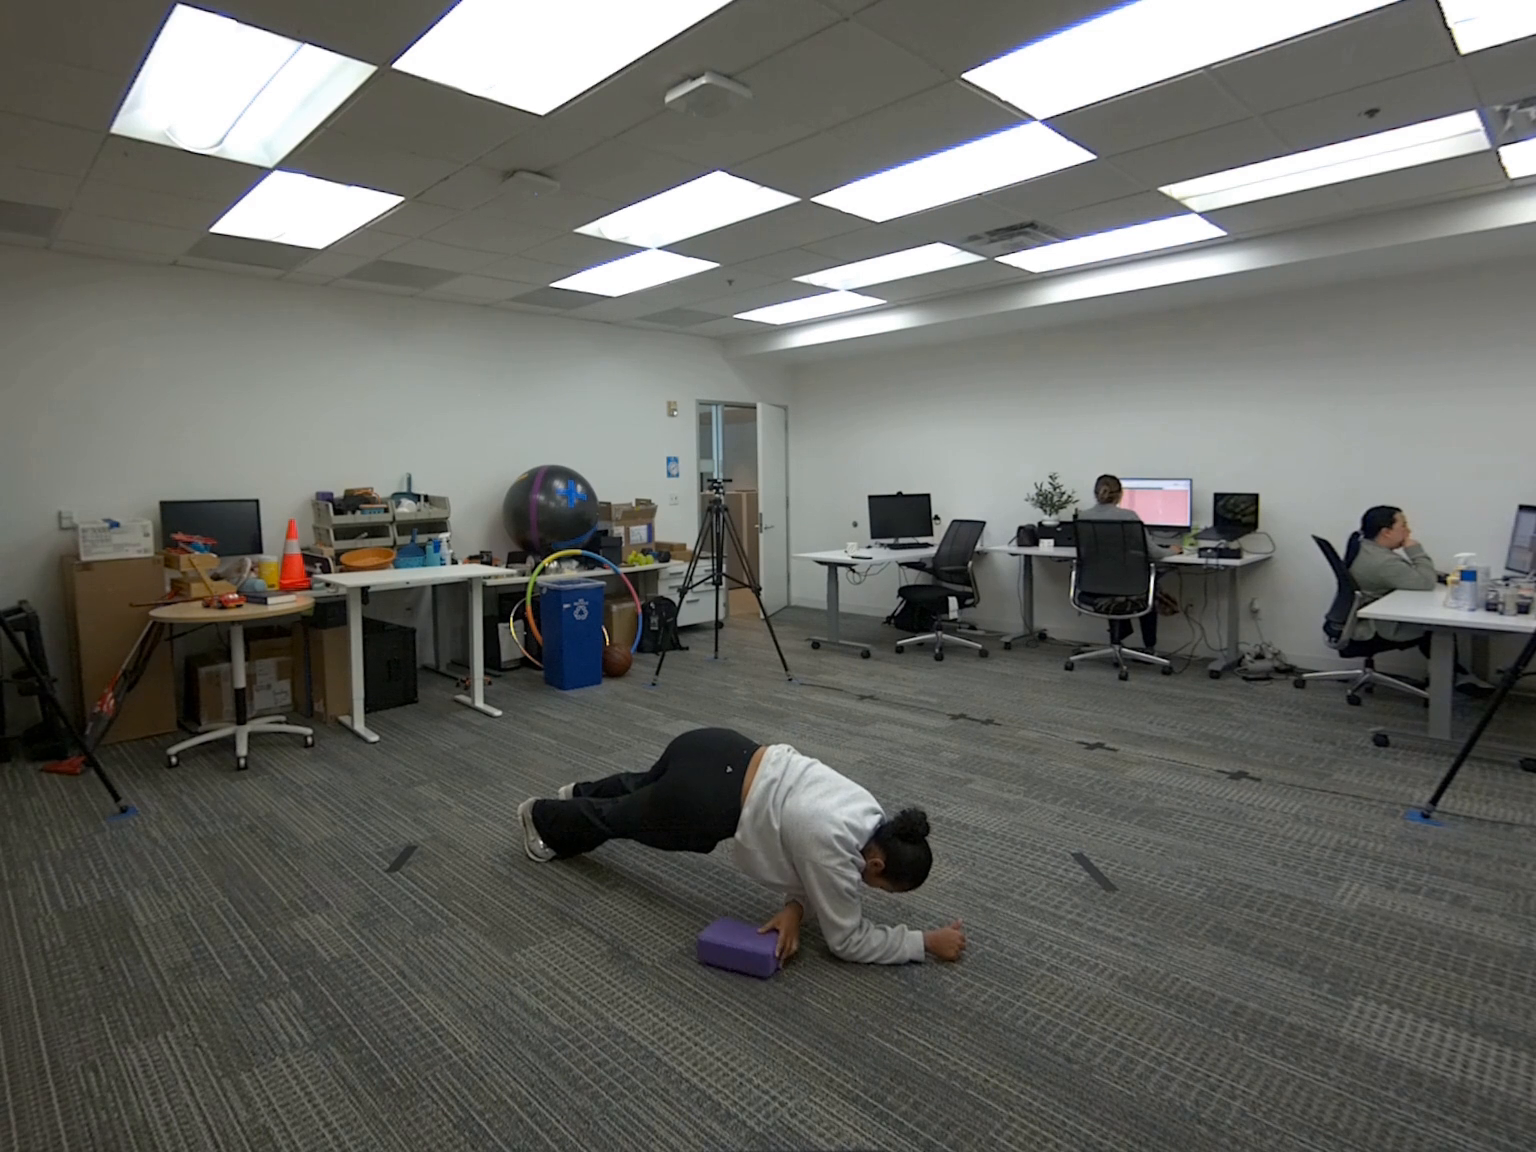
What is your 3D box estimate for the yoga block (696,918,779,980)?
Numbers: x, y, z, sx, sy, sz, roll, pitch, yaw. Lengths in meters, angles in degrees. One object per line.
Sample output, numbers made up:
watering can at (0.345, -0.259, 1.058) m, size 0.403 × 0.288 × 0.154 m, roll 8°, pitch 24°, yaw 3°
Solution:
yoga block at (-0.068, 1.072, 2.487) m, size 0.235 × 0.076 × 0.146 m, roll 3°, pitch 4°, yaw 24°
